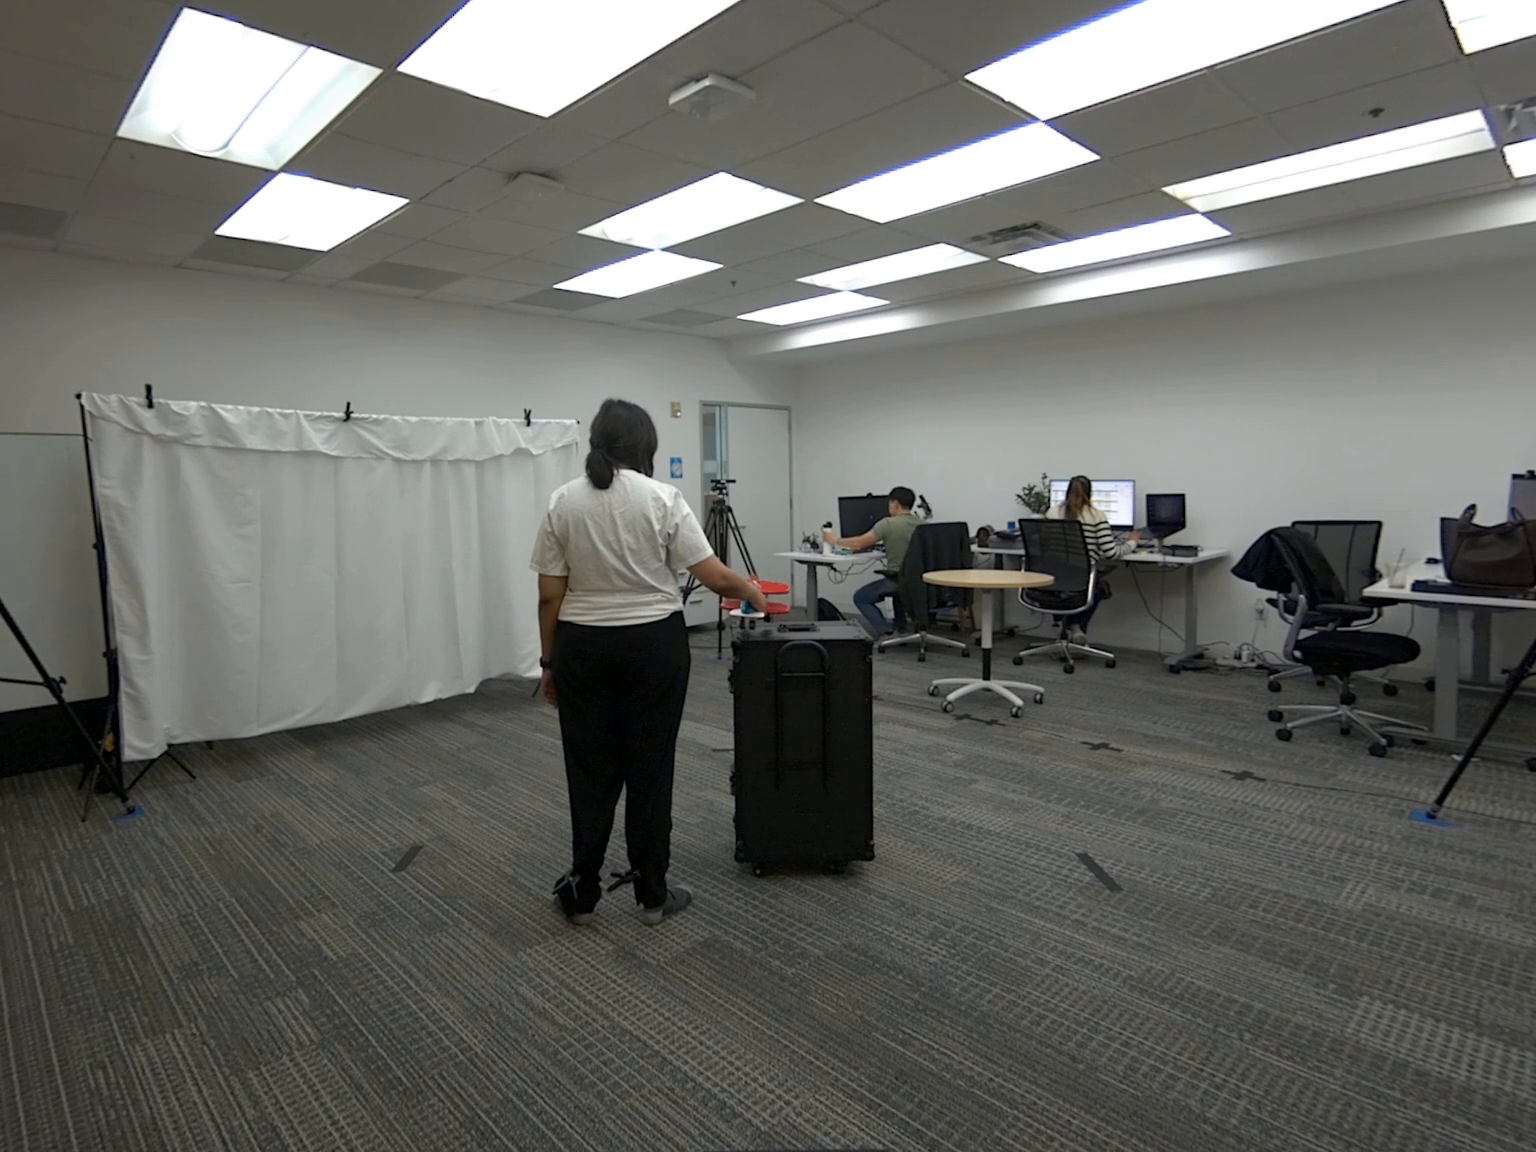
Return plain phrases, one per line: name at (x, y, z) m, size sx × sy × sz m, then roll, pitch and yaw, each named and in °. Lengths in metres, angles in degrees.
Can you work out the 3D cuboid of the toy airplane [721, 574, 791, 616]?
toy airplane at (-0.048, 0.102, 3.068) m, size 0.247 × 0.156 × 0.264 m, roll 0°, pitch 6°, yaw -16°
